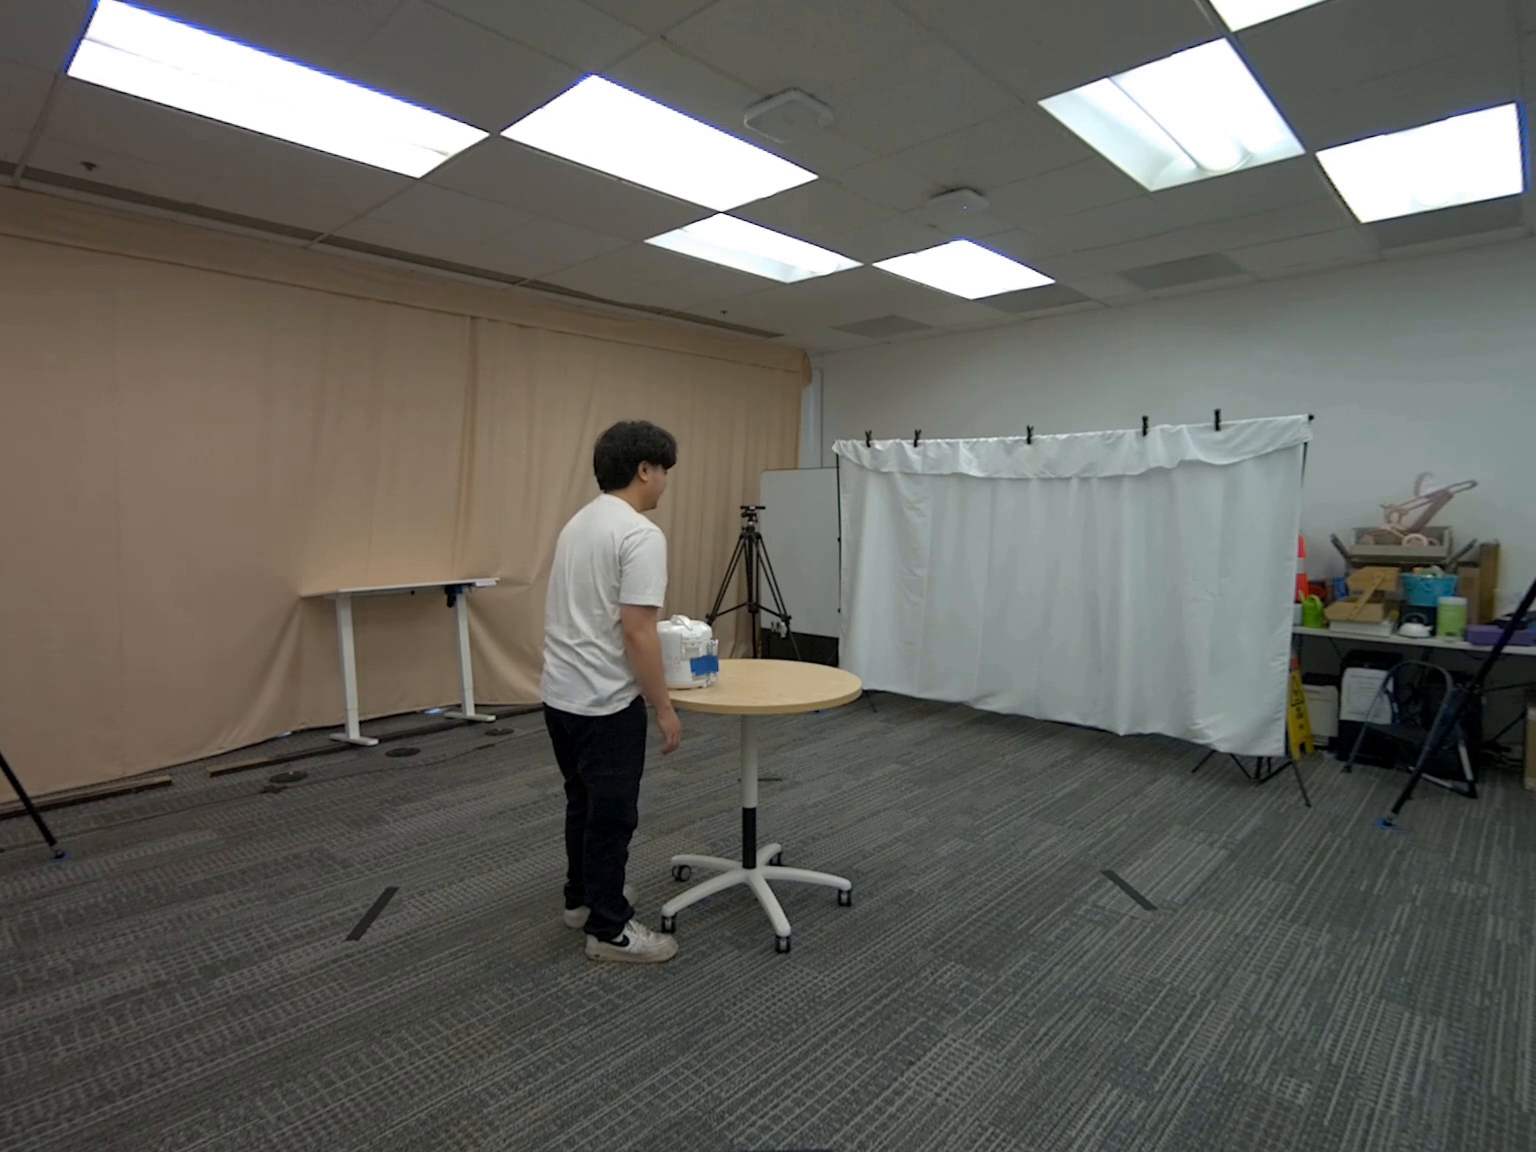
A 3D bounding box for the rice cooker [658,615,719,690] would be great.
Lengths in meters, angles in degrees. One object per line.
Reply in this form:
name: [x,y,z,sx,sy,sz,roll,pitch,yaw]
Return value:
rice cooker: [-0.291,0.249,2.793,0.212,0.232,0.226,0,2,-25]
